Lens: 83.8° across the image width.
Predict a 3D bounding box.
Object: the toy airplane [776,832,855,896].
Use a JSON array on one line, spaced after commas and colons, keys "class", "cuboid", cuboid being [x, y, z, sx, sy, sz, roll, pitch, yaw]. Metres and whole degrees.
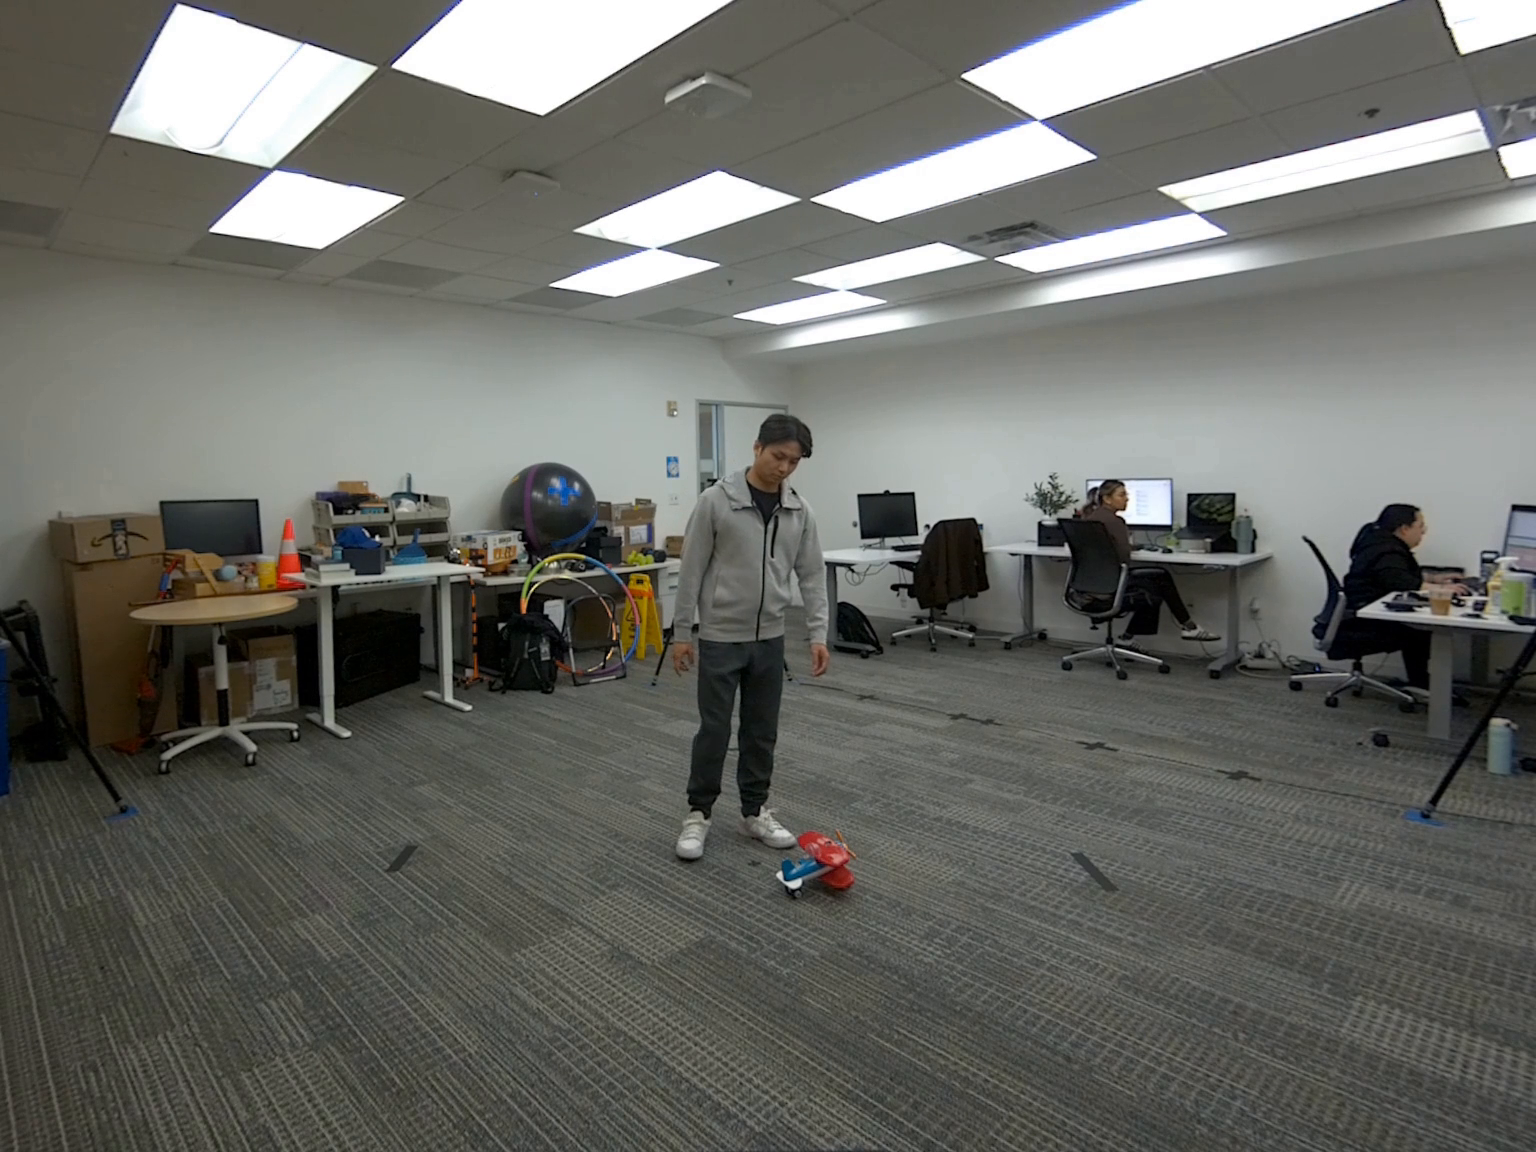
[{"class": "toy airplane", "cuboid": [0.174, 0.990, 2.885, 0.258, 0.156, 0.253, 3, 6, 34]}]
